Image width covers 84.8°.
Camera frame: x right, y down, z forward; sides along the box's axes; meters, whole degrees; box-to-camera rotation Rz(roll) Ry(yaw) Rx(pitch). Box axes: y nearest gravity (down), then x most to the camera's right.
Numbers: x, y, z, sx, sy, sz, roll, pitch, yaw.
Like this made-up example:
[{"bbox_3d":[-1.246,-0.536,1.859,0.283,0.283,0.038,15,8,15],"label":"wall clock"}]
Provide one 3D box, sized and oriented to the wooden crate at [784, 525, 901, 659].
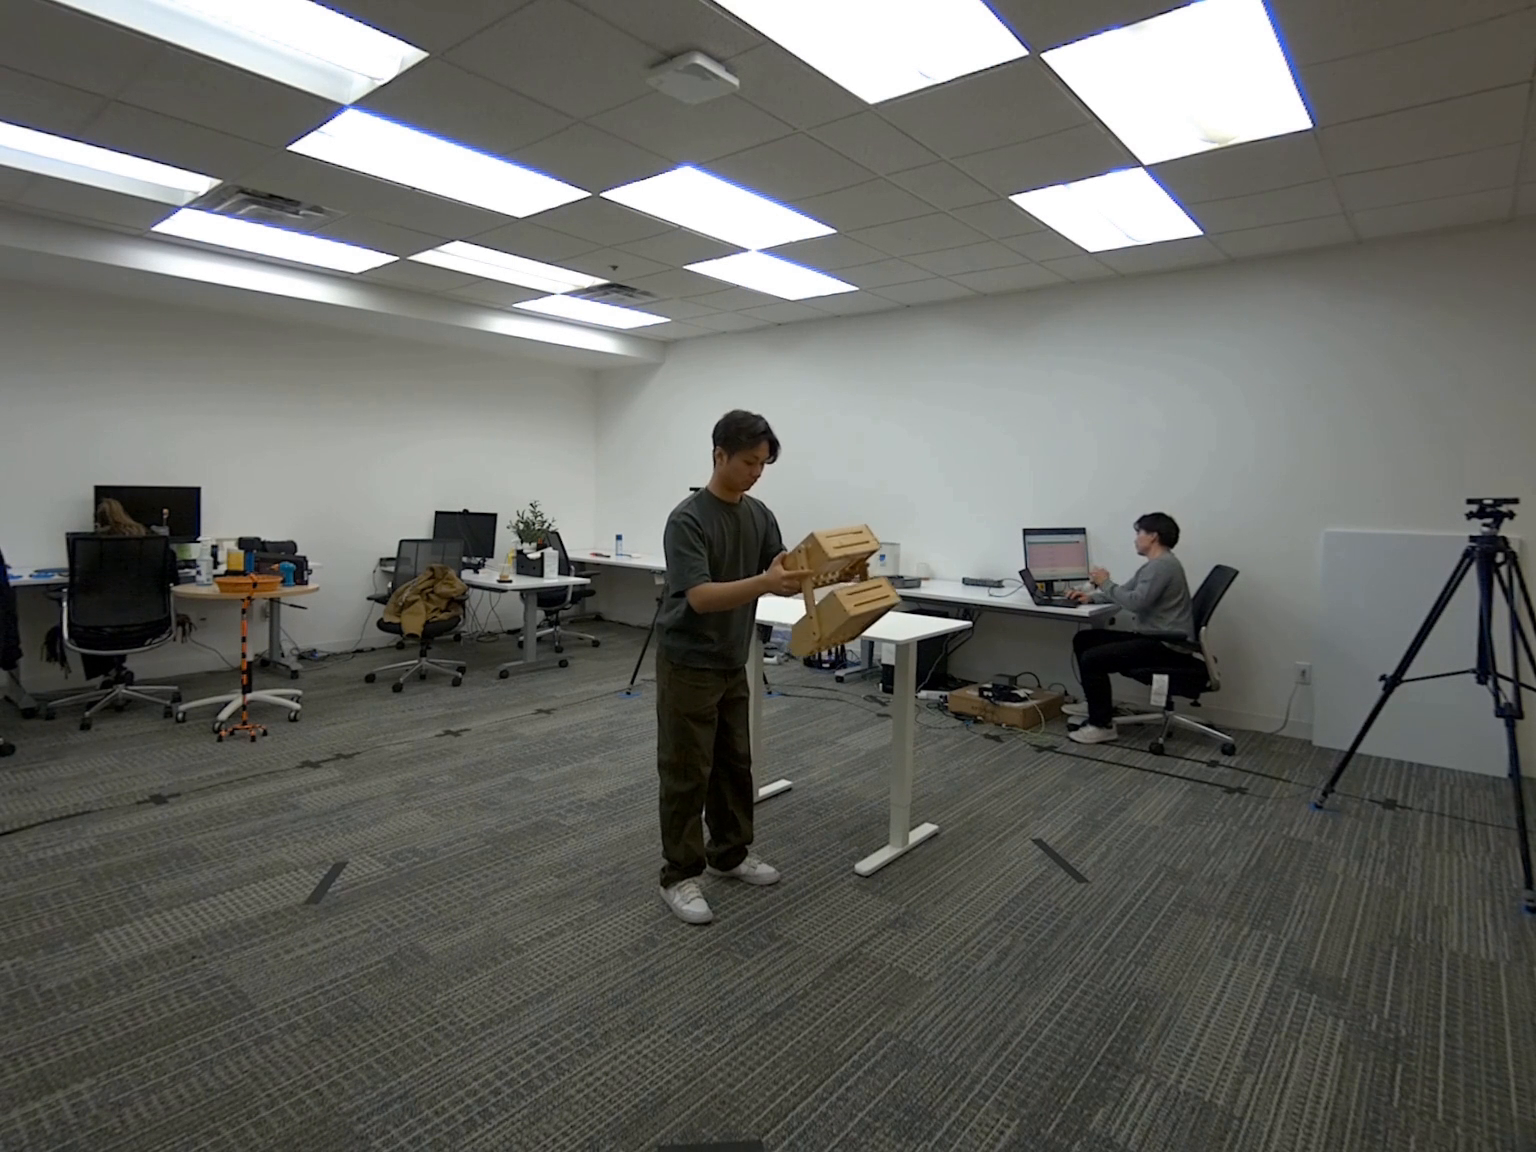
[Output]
[{"bbox_3d":[0.179,0.040,2.588,0.316,0.280,0.303,-10,-27,-50],"label":"wooden crate"}]
